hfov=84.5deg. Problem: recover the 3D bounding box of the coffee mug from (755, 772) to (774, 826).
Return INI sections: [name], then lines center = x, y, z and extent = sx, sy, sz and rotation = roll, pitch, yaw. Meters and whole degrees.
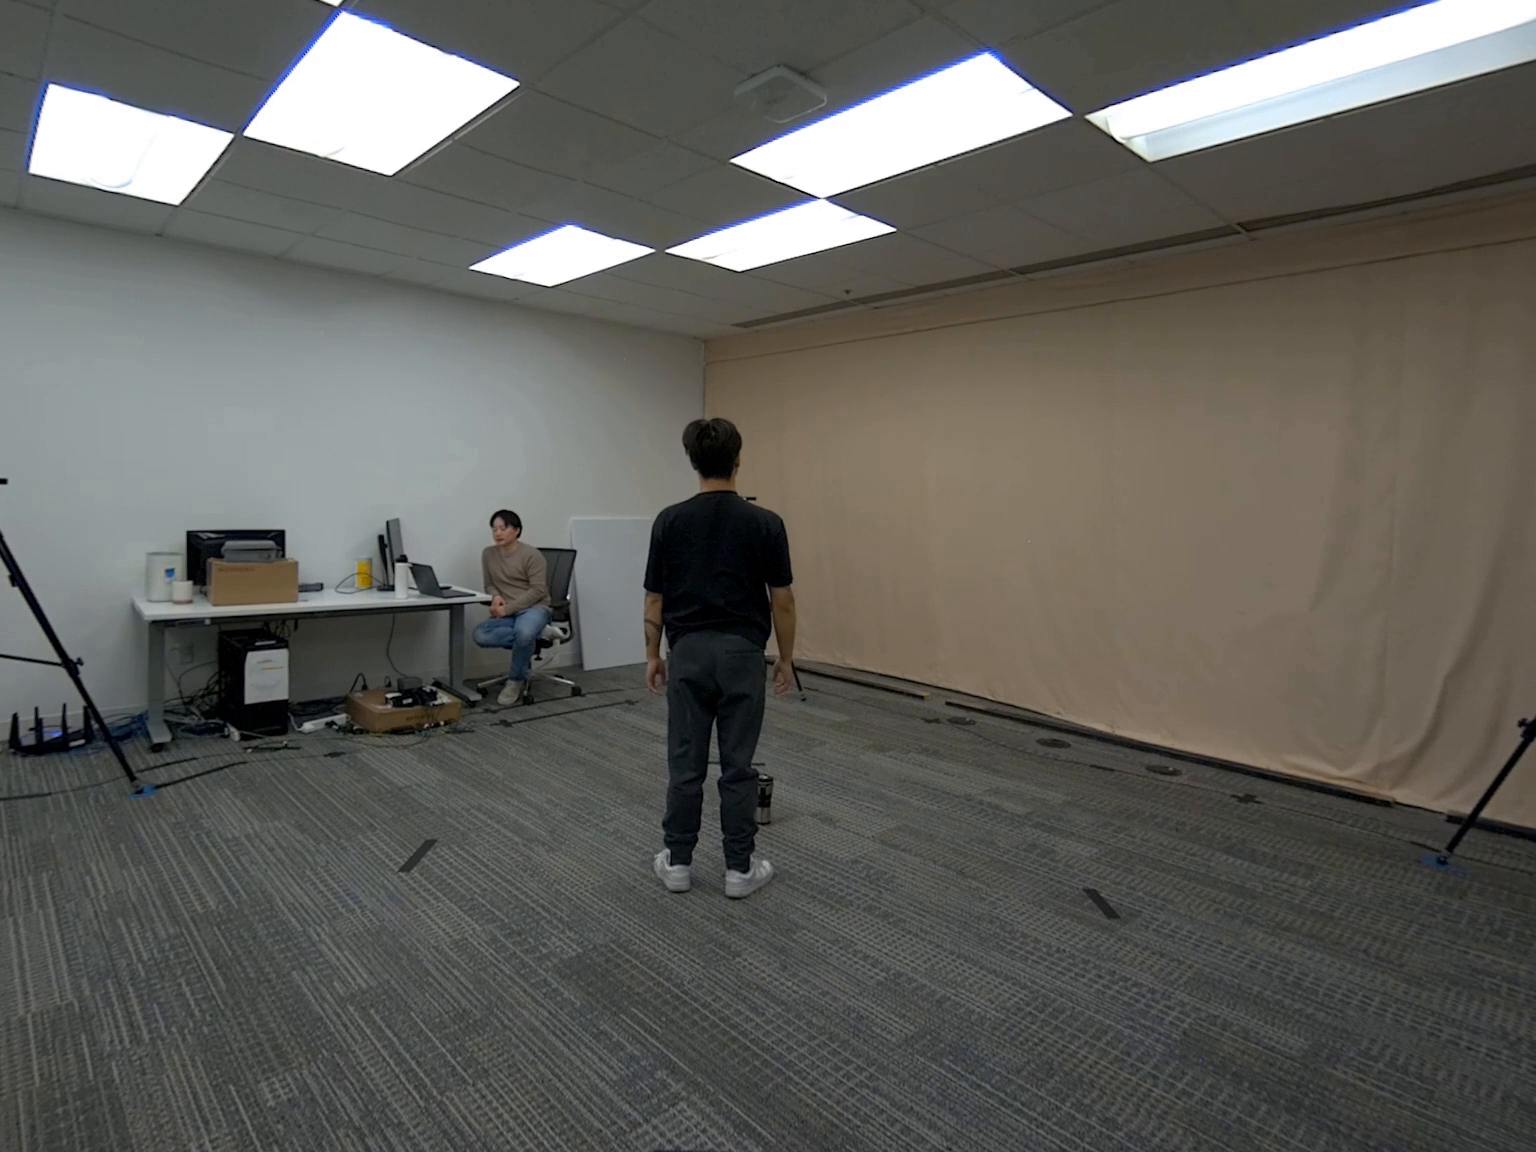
[coffee mug]
center = -0.044, 0.967, 3.623
extent = 0.090, 0.202, 0.119
rotation = 9, 5, 43
